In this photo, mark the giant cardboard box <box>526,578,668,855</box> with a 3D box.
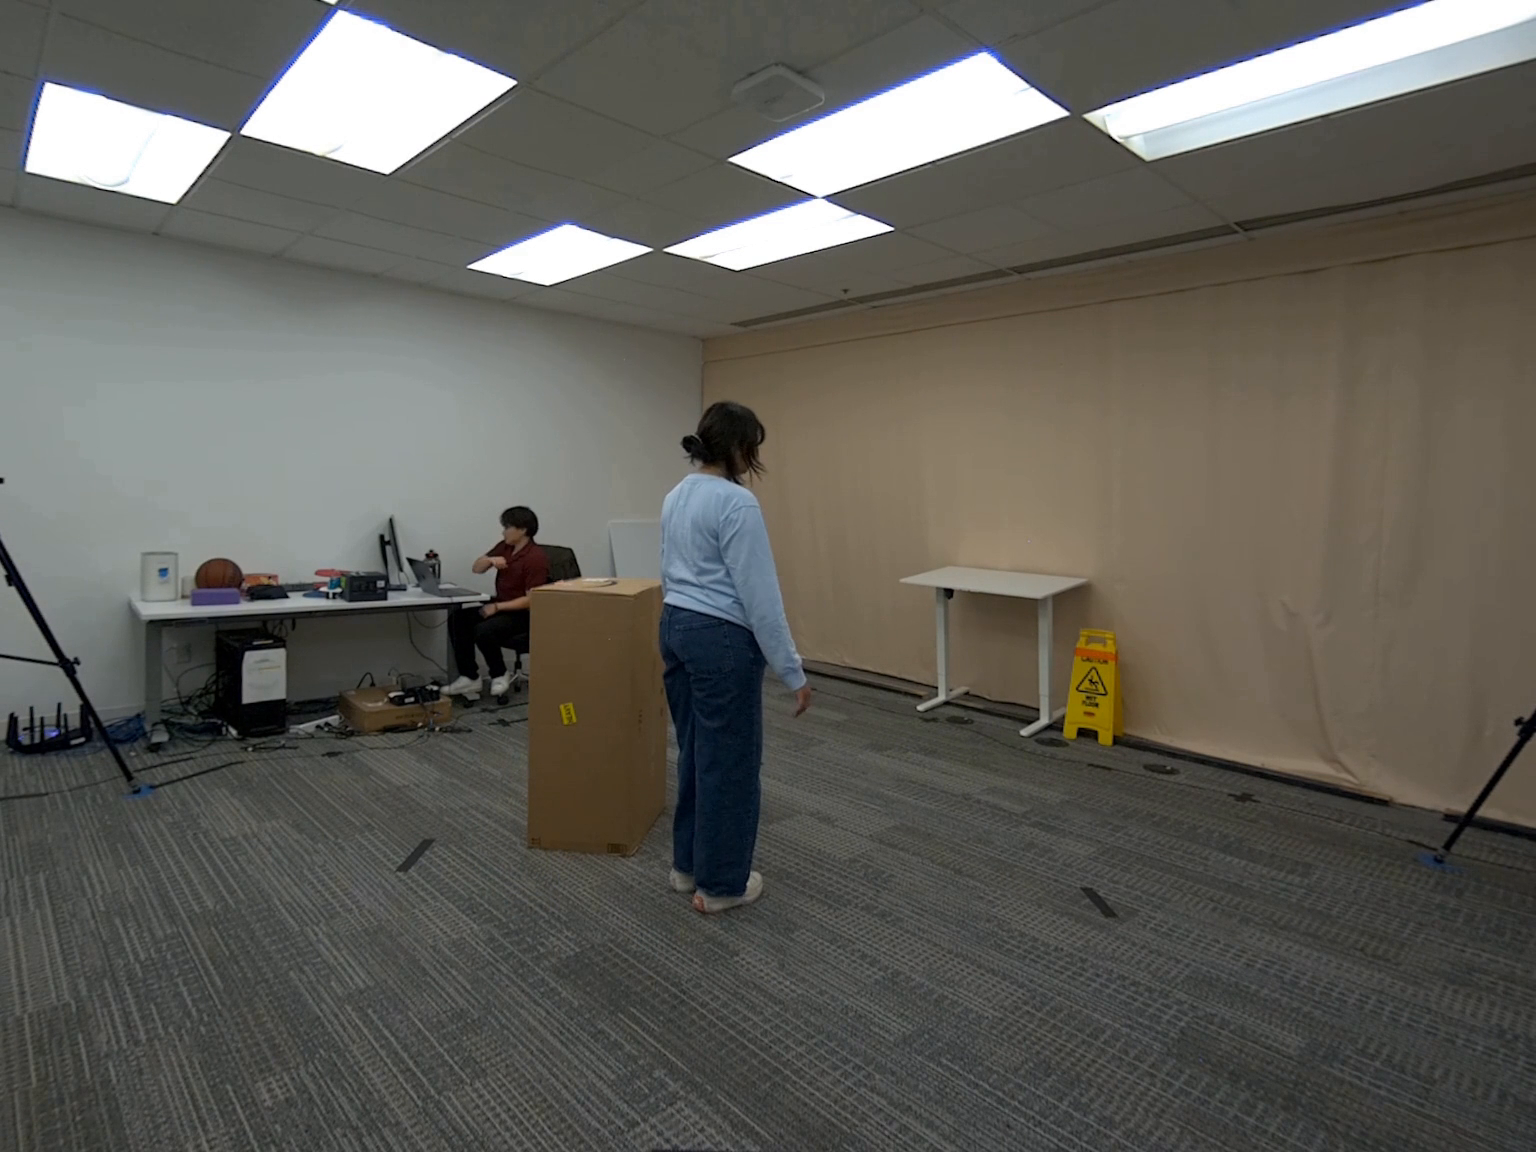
[{"bbox_3d":[-0.703,0.544,3.533,0.429,1.023,0.574,2,3,8],"label":"giant cardboard box"}]
